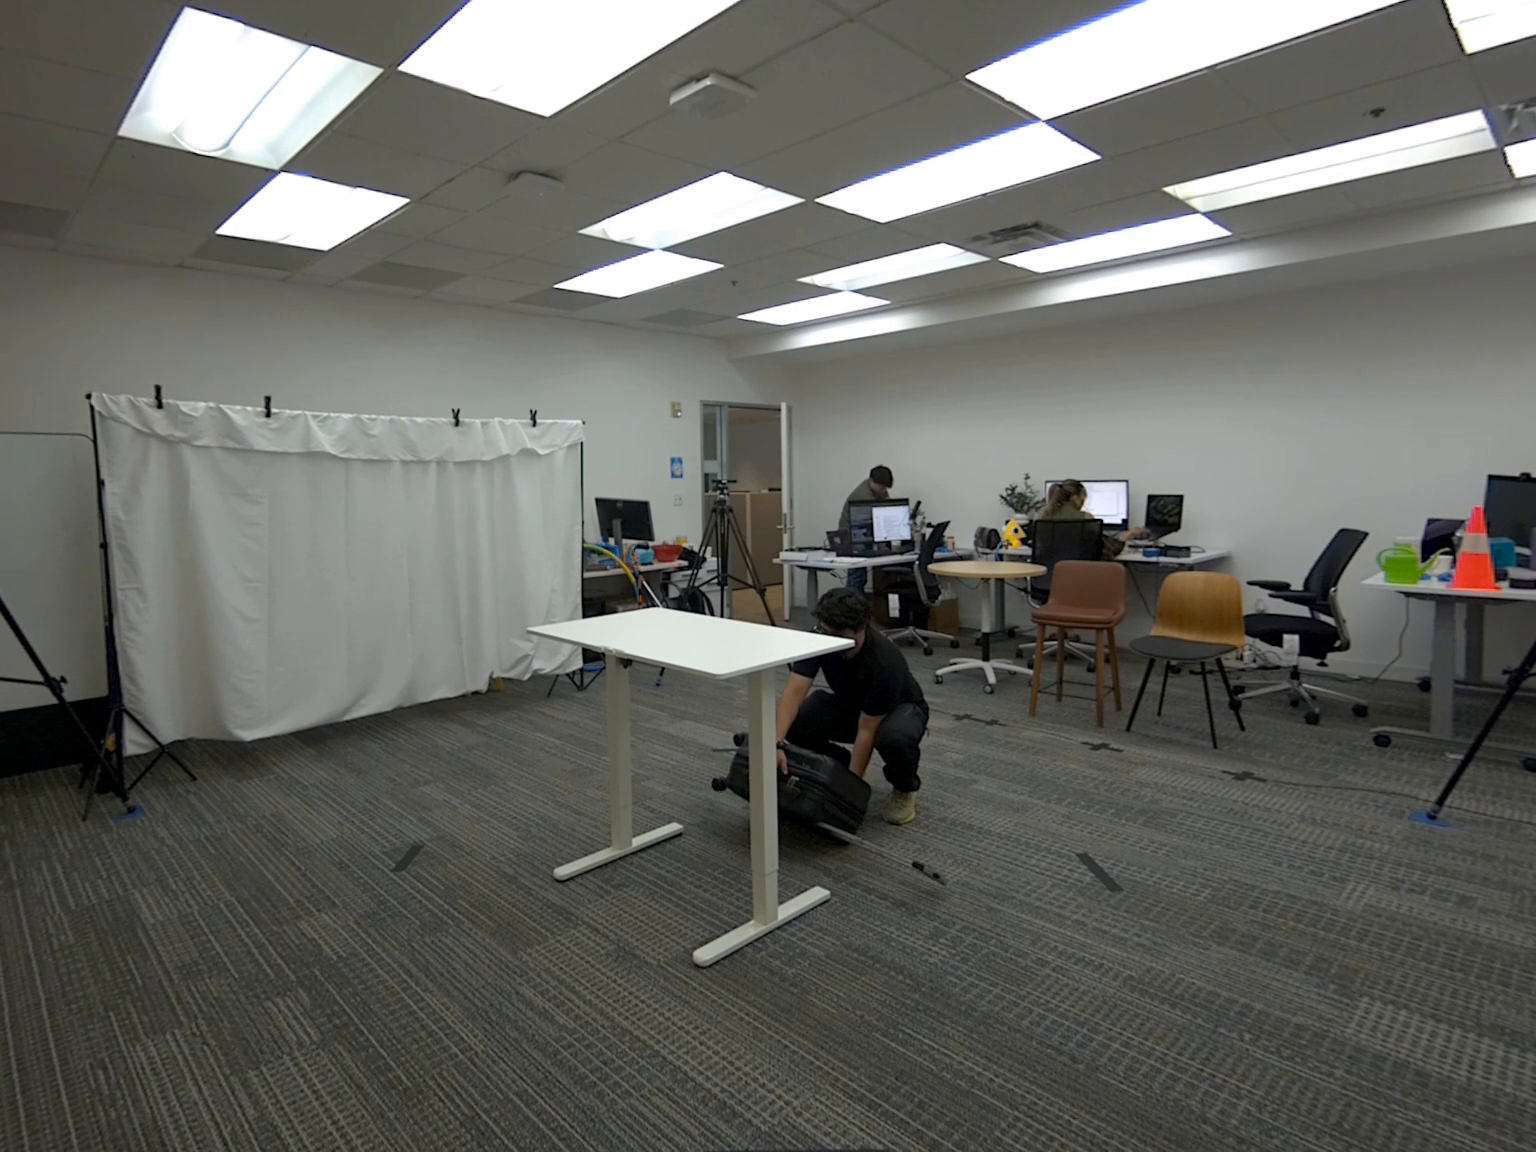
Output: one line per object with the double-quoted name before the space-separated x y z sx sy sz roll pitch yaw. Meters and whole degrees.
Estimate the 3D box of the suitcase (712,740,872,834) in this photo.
"suitcase" 0.249 0.840 3.221 1.008 0.259 0.370 4 -28 47
